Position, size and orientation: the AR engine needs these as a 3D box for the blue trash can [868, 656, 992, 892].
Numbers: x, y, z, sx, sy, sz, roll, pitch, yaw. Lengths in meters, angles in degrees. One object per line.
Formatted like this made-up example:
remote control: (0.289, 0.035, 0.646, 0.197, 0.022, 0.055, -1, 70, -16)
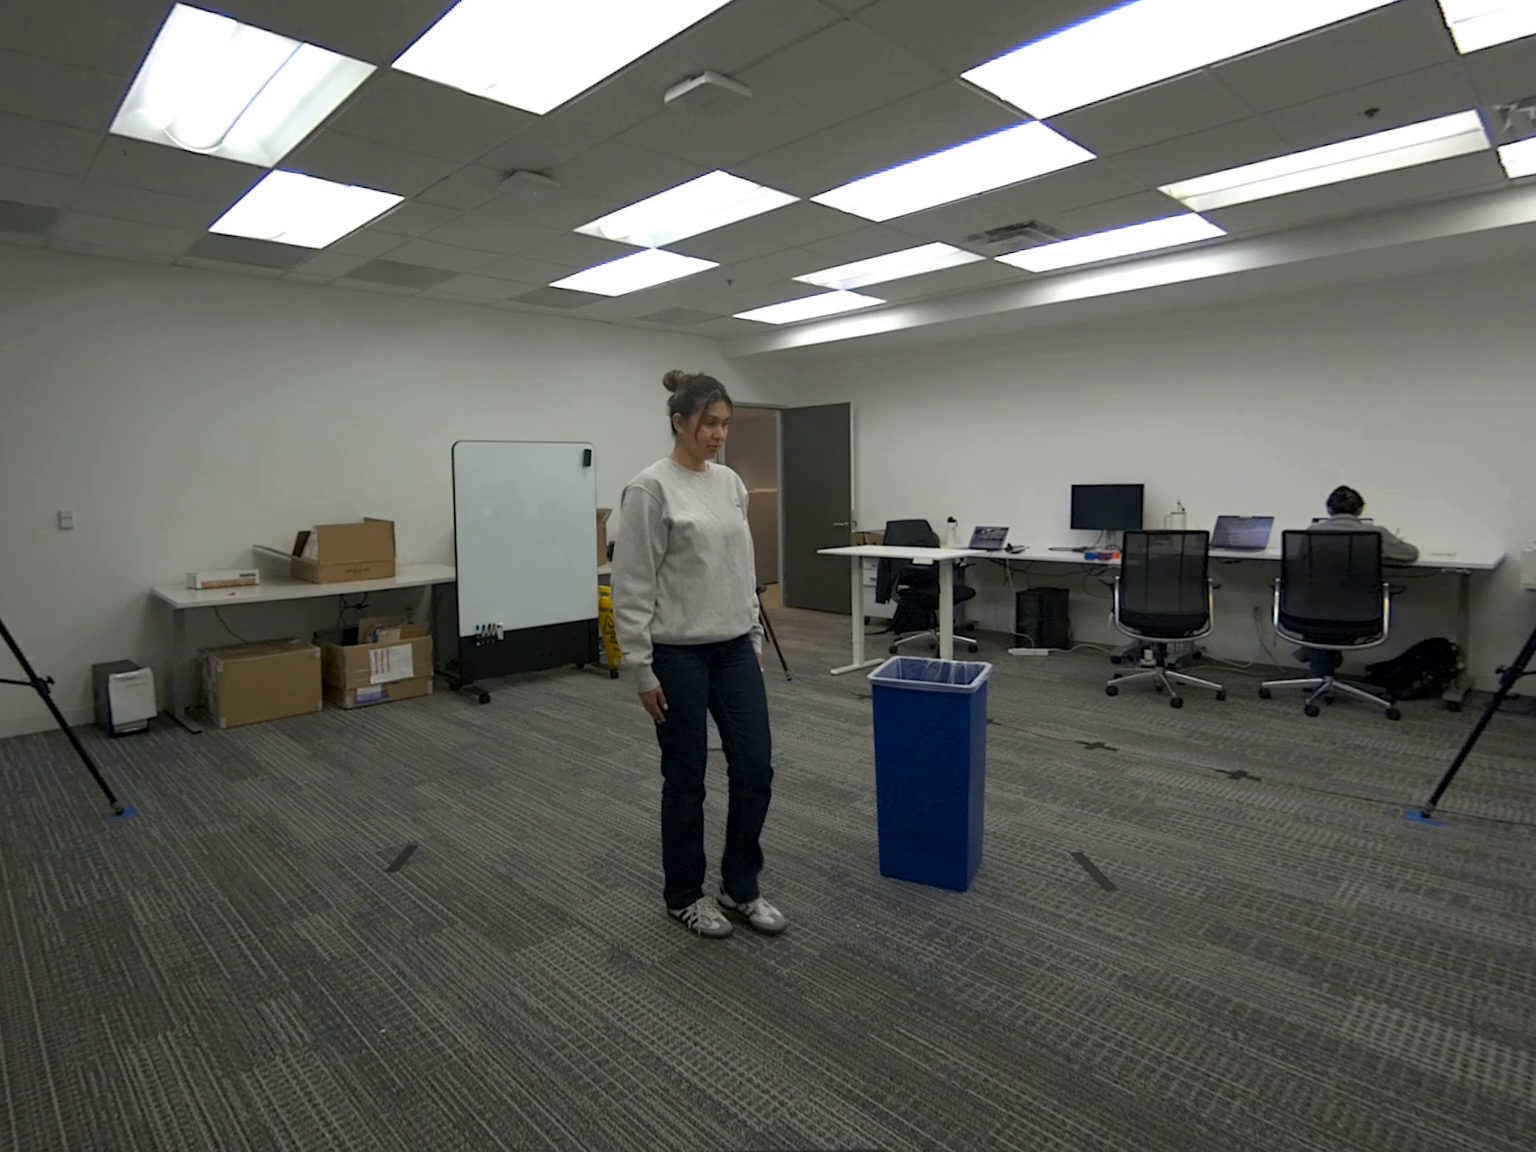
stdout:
blue trash can: (0.581, 0.684, 3.027, 0.387, 0.711, 0.367, 1, 4, 26)
